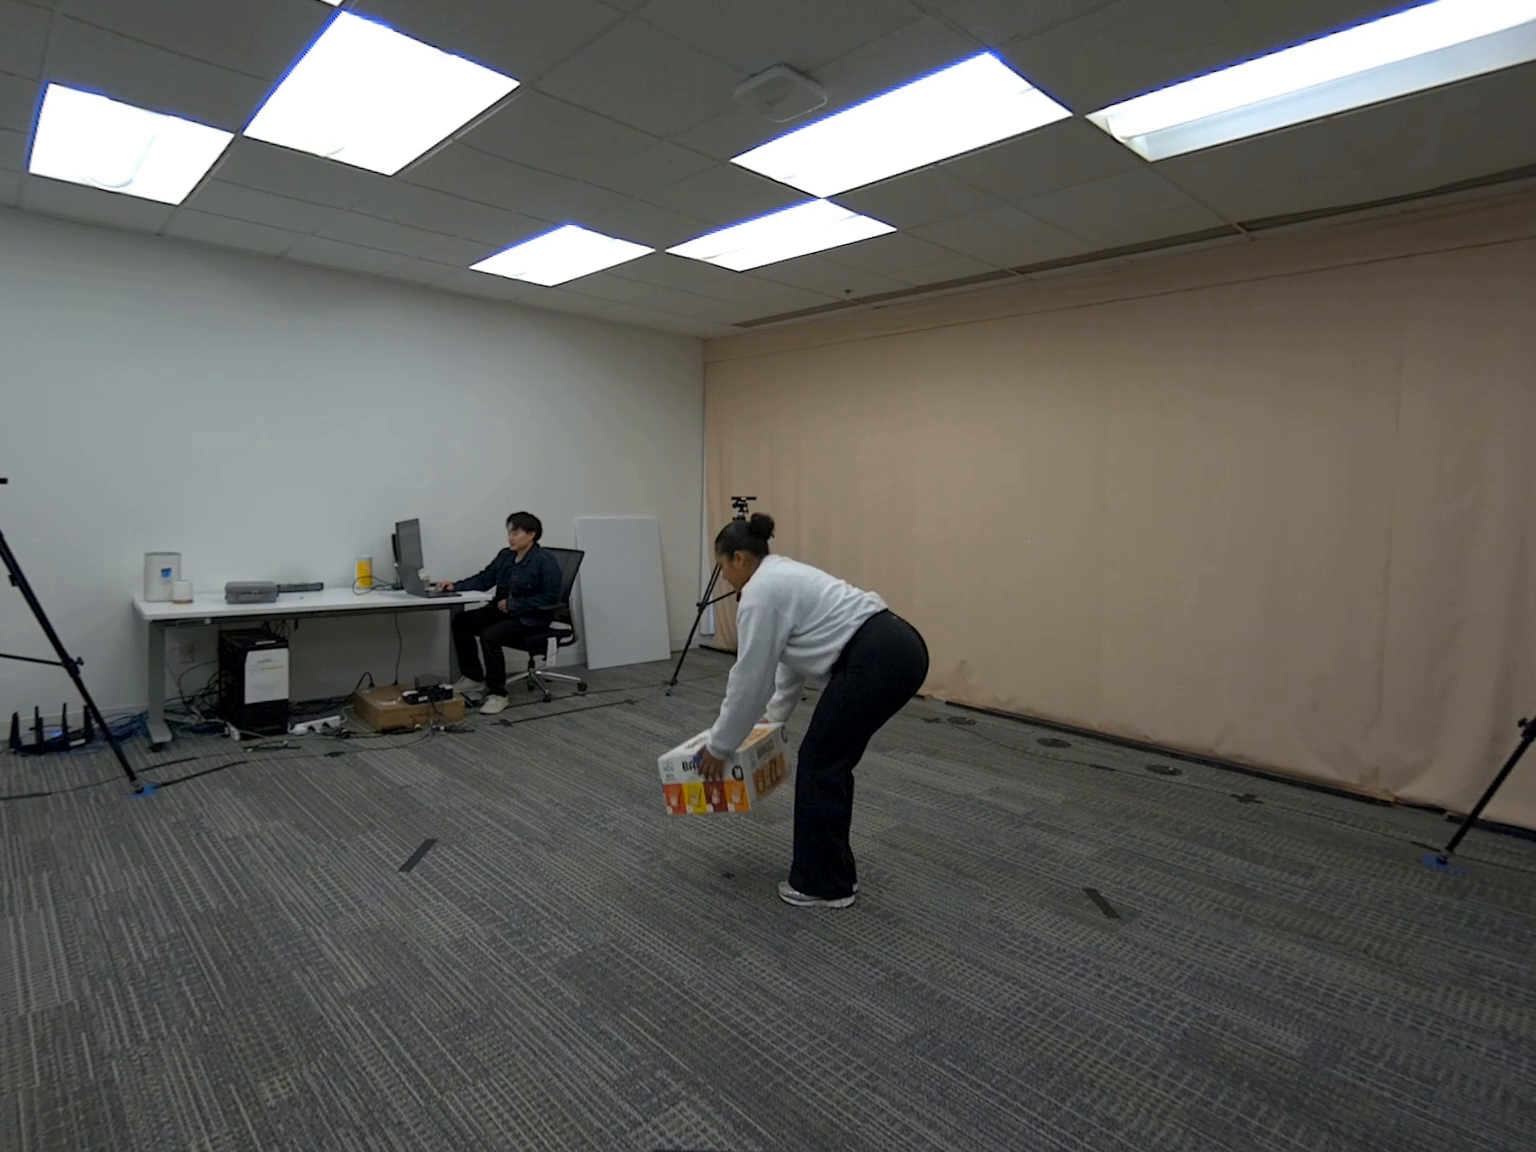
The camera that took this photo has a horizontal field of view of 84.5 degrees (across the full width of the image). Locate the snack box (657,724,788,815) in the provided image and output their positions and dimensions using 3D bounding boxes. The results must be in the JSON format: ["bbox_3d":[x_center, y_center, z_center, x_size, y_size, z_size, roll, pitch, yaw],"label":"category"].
[{"bbox_3d":[-0.160,0.690,3.119,0.345,0.205,0.399,-9,2,25],"label":"snack box"}]
